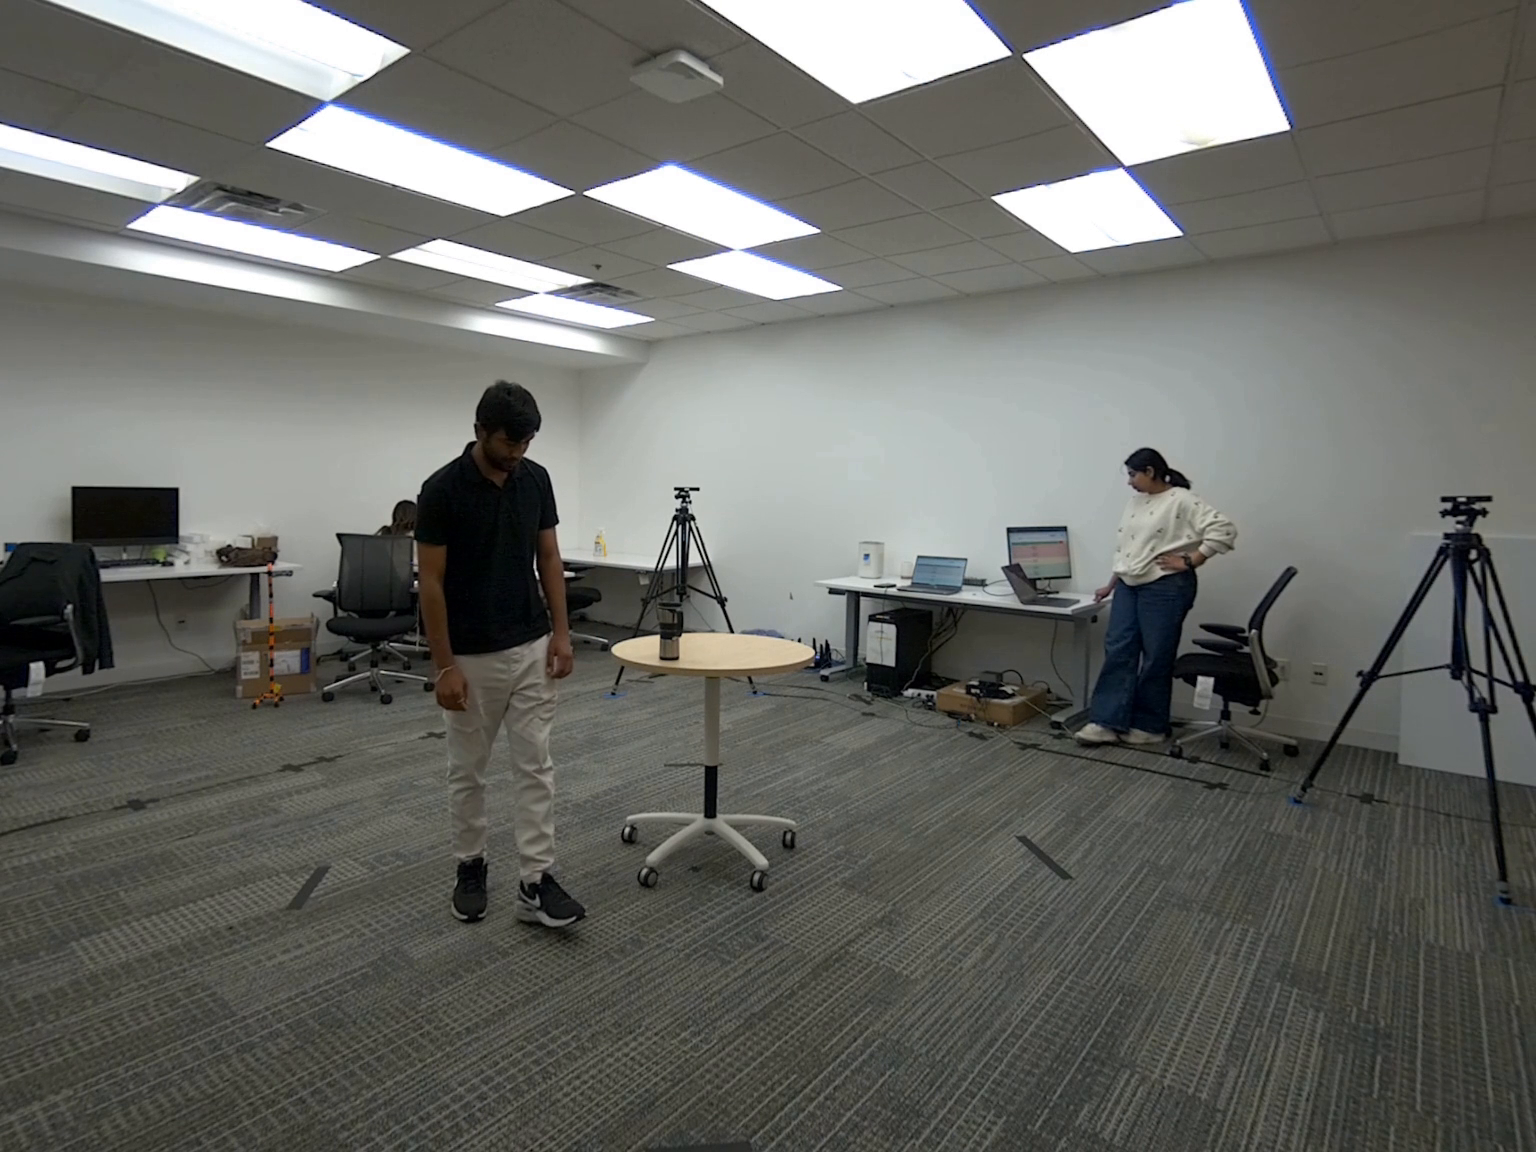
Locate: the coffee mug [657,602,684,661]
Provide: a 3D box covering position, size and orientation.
[{"bbox_3d":[-0.359,0.192,2.978,0.087,0.203,0.123,2,0,-13],"label":"coffee mug"}]
